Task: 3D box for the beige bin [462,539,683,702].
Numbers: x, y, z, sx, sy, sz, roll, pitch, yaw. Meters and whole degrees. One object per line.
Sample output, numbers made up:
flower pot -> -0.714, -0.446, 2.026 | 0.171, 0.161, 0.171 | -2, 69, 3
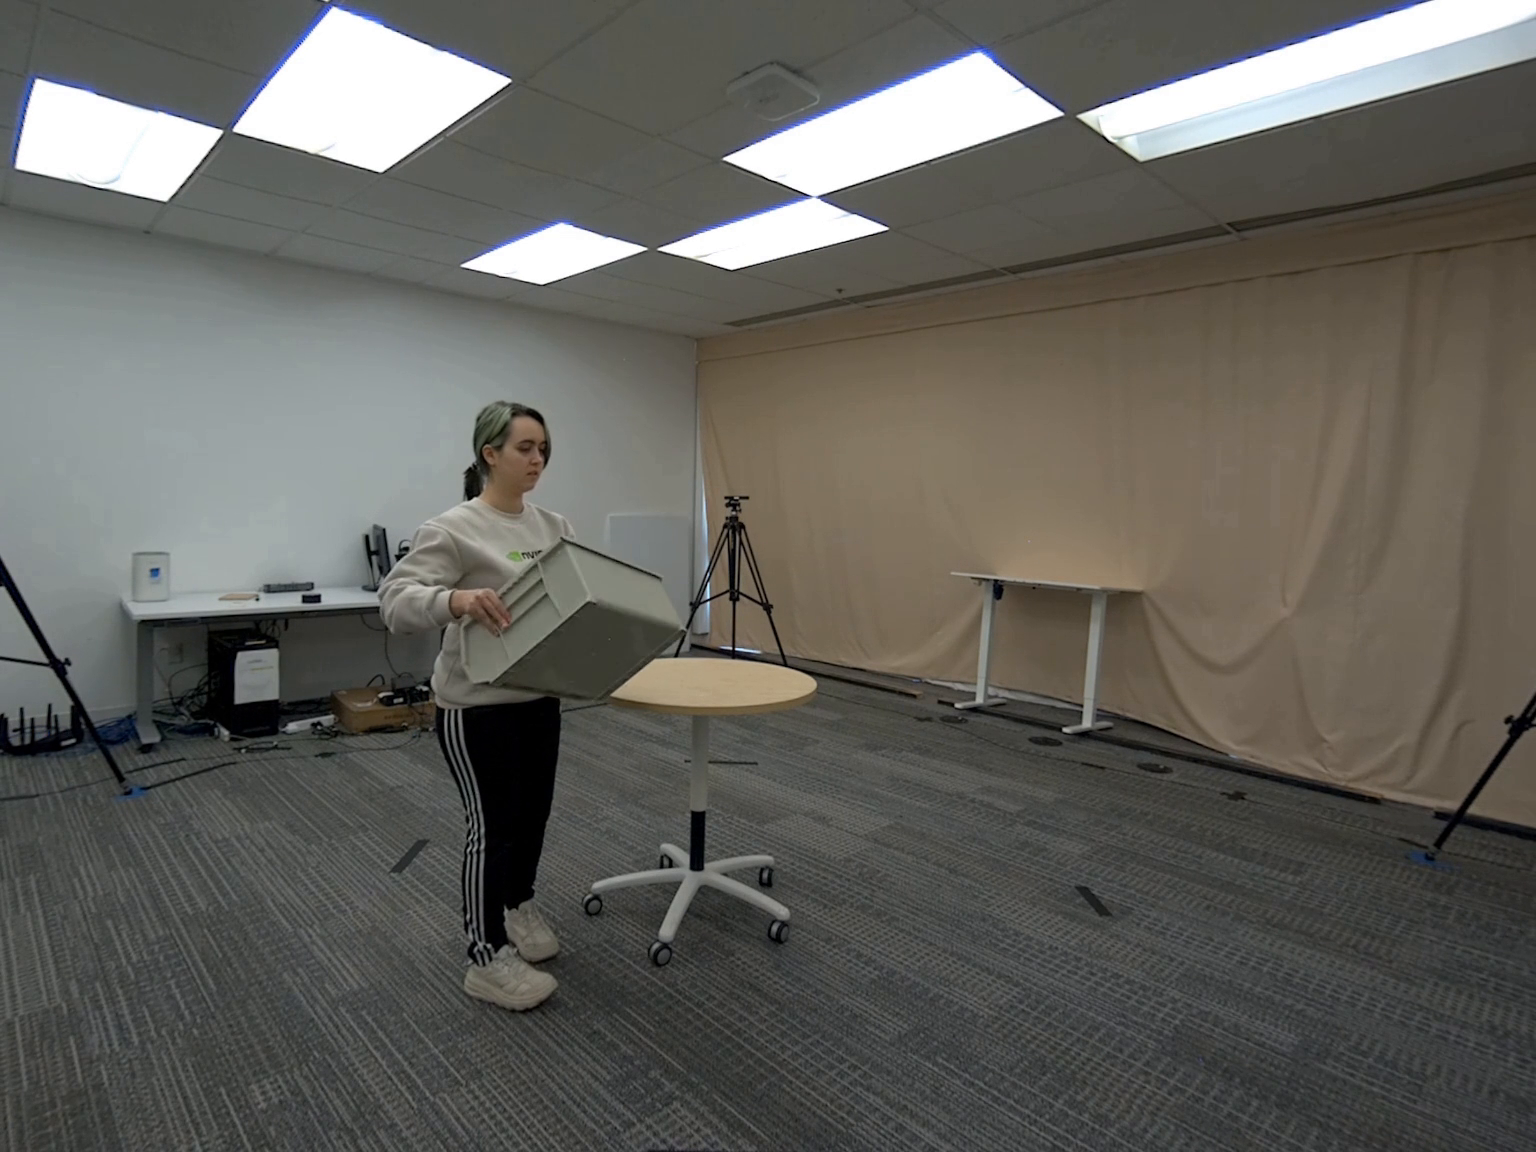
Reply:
beige bin -> -0.474, 0.138, 2.046 | 0.378, 0.194, 0.410 | -38, -28, 14
